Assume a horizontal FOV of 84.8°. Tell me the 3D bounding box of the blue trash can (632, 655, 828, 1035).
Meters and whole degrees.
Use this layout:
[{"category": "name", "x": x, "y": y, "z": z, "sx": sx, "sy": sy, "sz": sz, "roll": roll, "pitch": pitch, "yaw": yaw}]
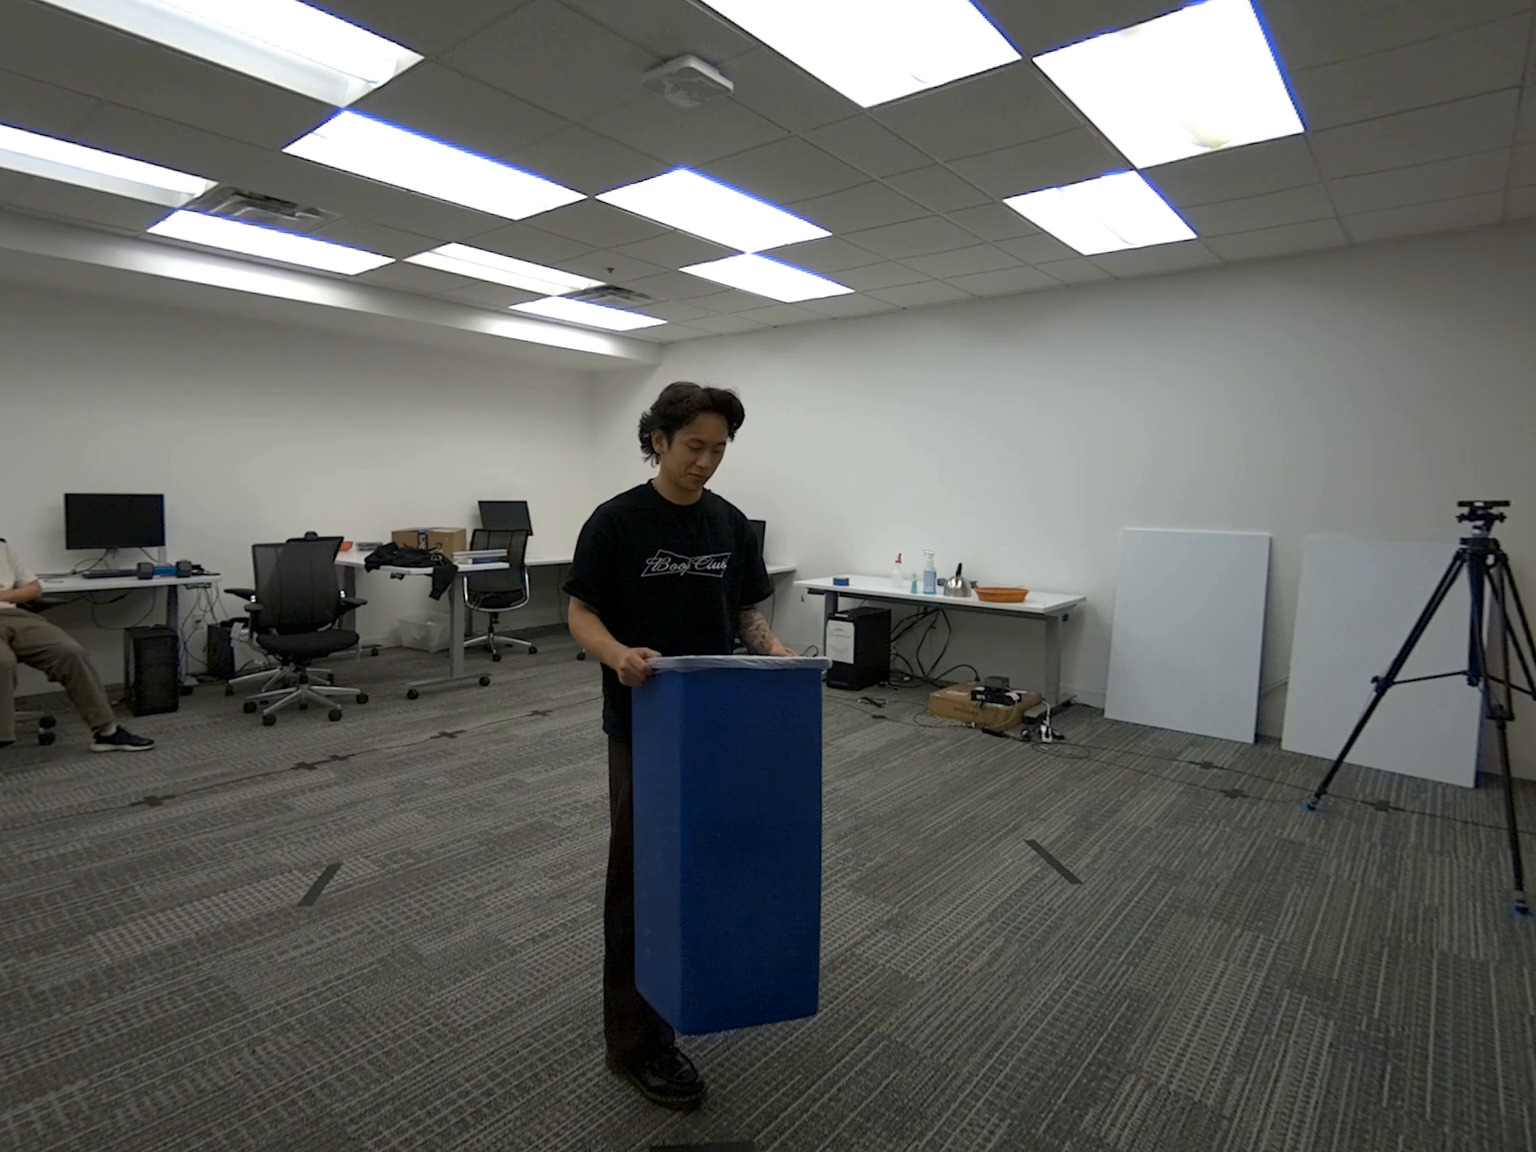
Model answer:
[{"category": "blue trash can", "x": -0.104, "y": 0.542, "z": 1.854, "sx": 0.365, "sy": 0.720, "sz": 0.384, "roll": 4, "pitch": -10, "yaw": -25}]
